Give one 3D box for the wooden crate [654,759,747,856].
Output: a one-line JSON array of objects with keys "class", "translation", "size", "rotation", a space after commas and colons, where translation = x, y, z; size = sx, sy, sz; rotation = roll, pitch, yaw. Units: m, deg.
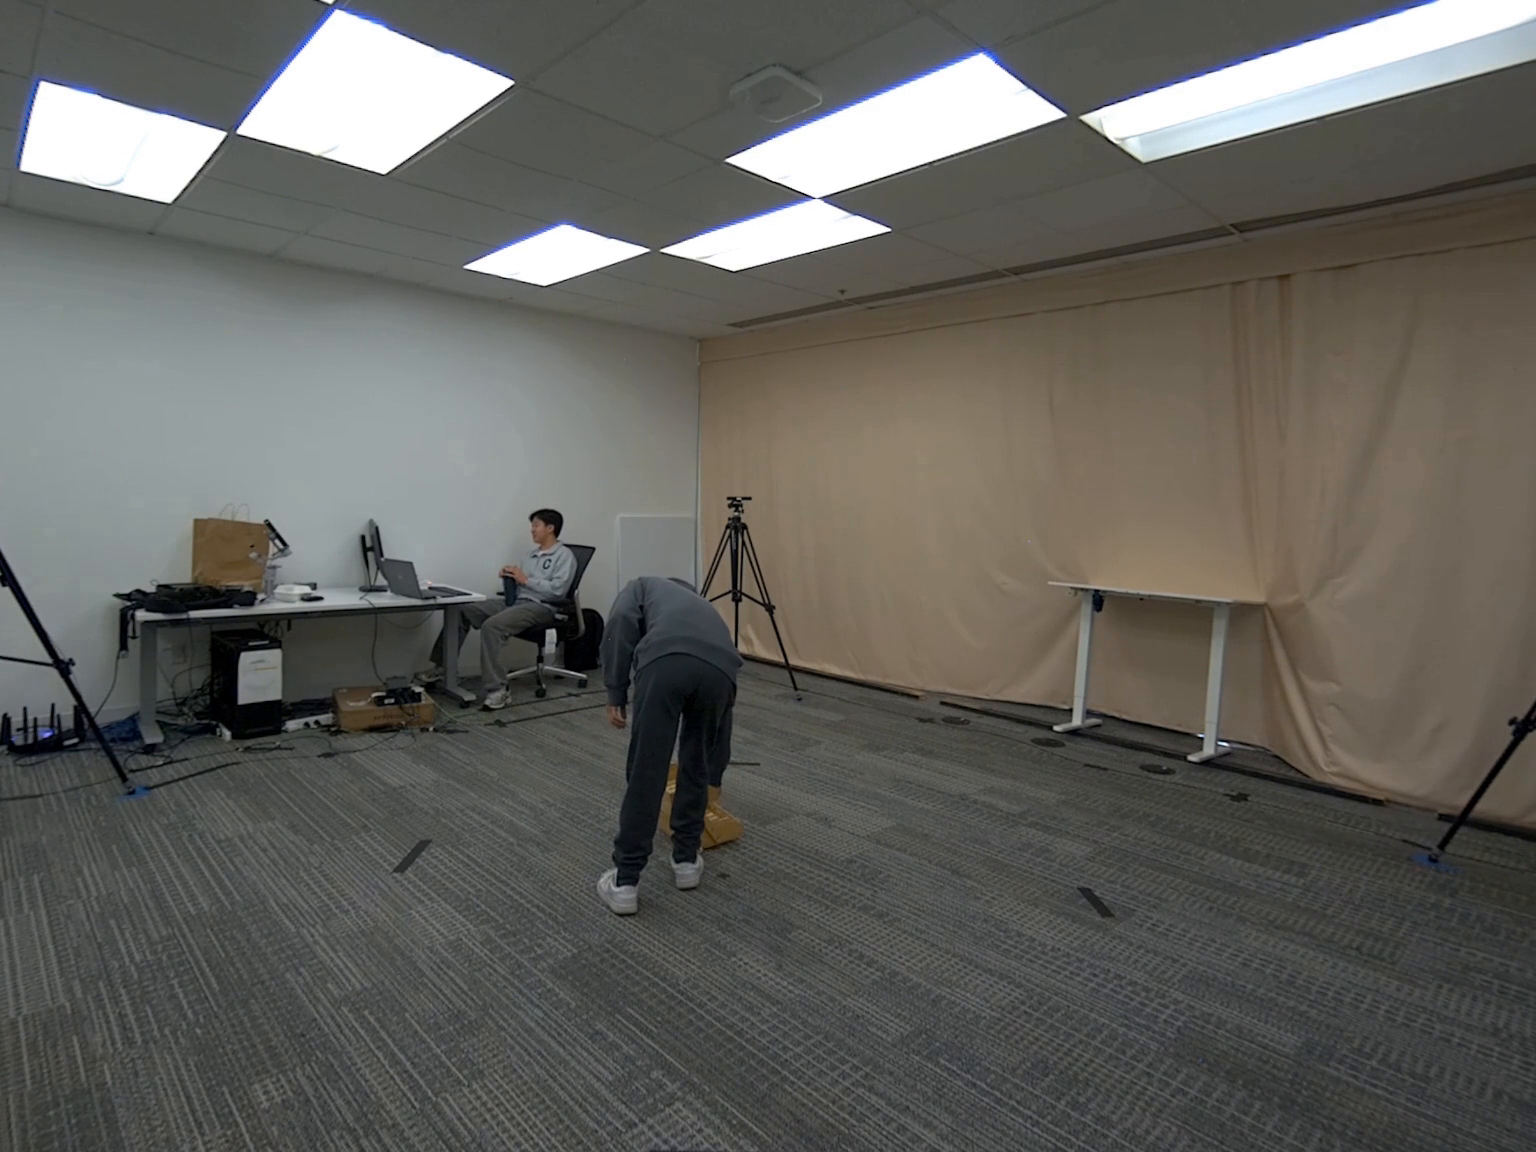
[{"class": "wooden crate", "translation": [-0.312, 0.926, 3.449], "size": [0.297, 0.272, 0.332], "rotation": [-10, 9, -28]}]
